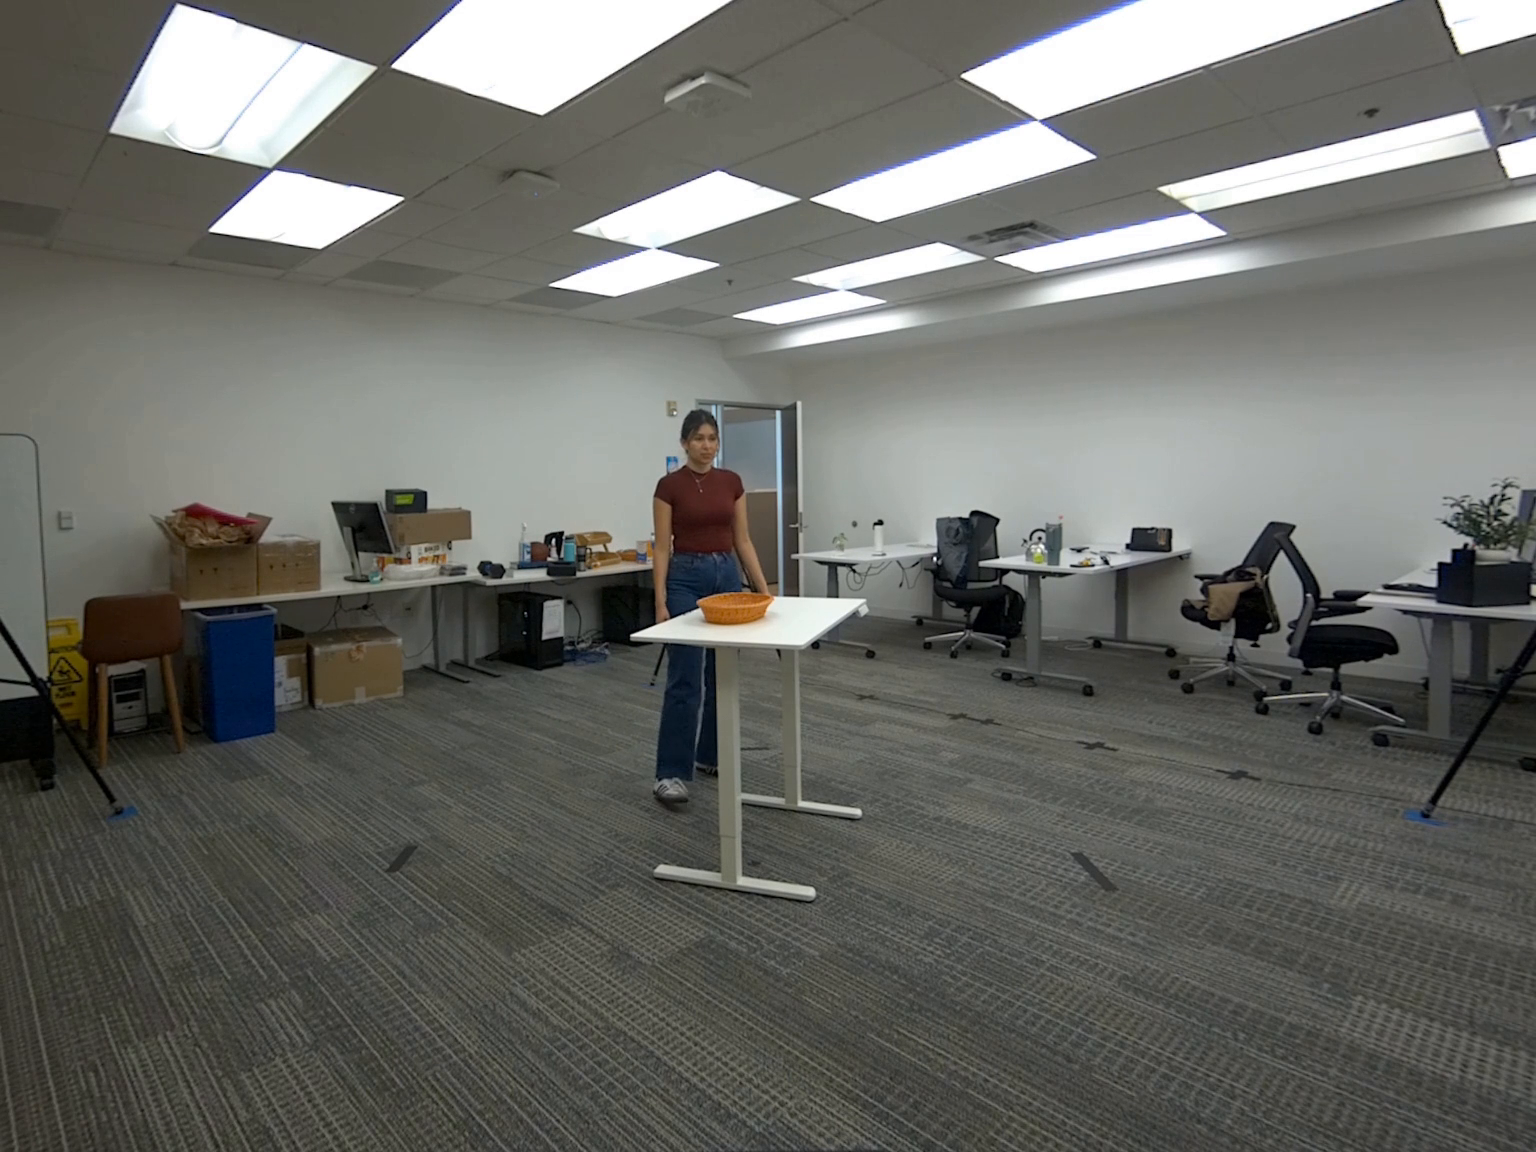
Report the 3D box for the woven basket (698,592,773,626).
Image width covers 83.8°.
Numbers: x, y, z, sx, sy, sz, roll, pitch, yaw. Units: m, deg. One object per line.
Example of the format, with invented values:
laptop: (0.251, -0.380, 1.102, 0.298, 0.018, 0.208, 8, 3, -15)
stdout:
woven basket: (-0.124, 0.131, 3.172, 0.257, 0.073, 0.345, 2, 7, 20)
